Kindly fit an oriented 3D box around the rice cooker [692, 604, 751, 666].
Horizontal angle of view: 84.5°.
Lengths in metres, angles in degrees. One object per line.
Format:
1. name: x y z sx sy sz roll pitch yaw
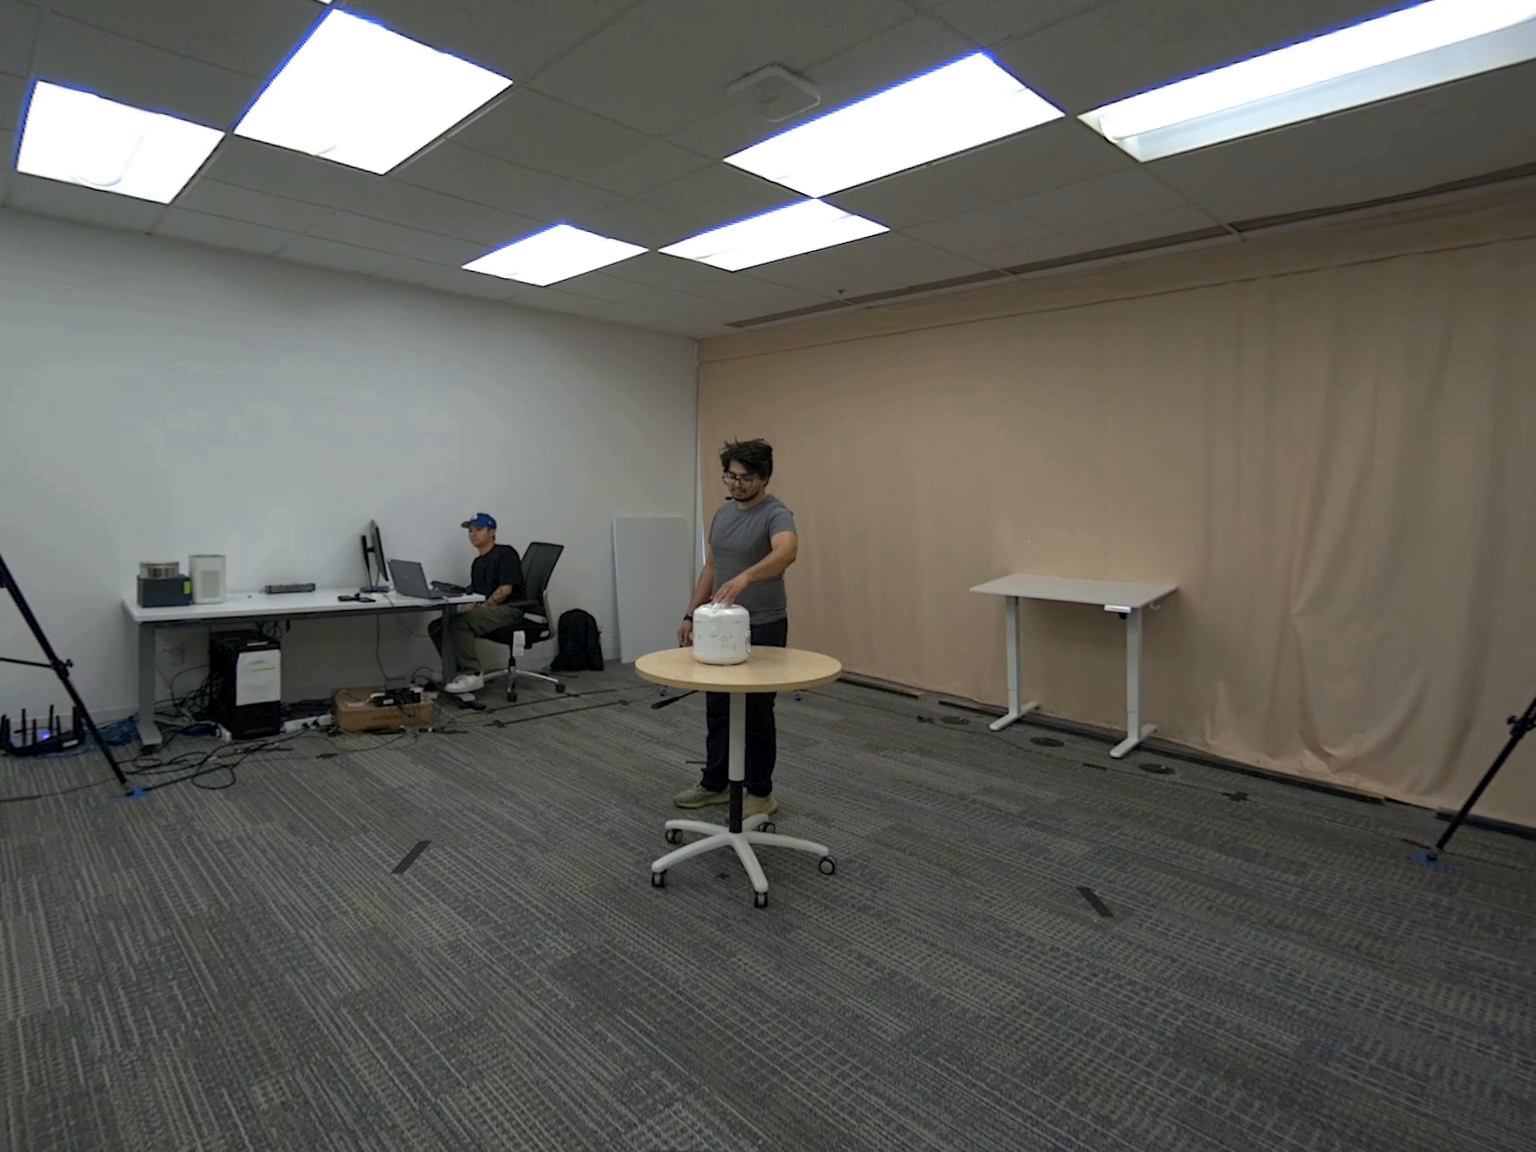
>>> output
1. rice cooker: -0.186 0.204 3.154 0.220 0.232 0.218 2 4 14
